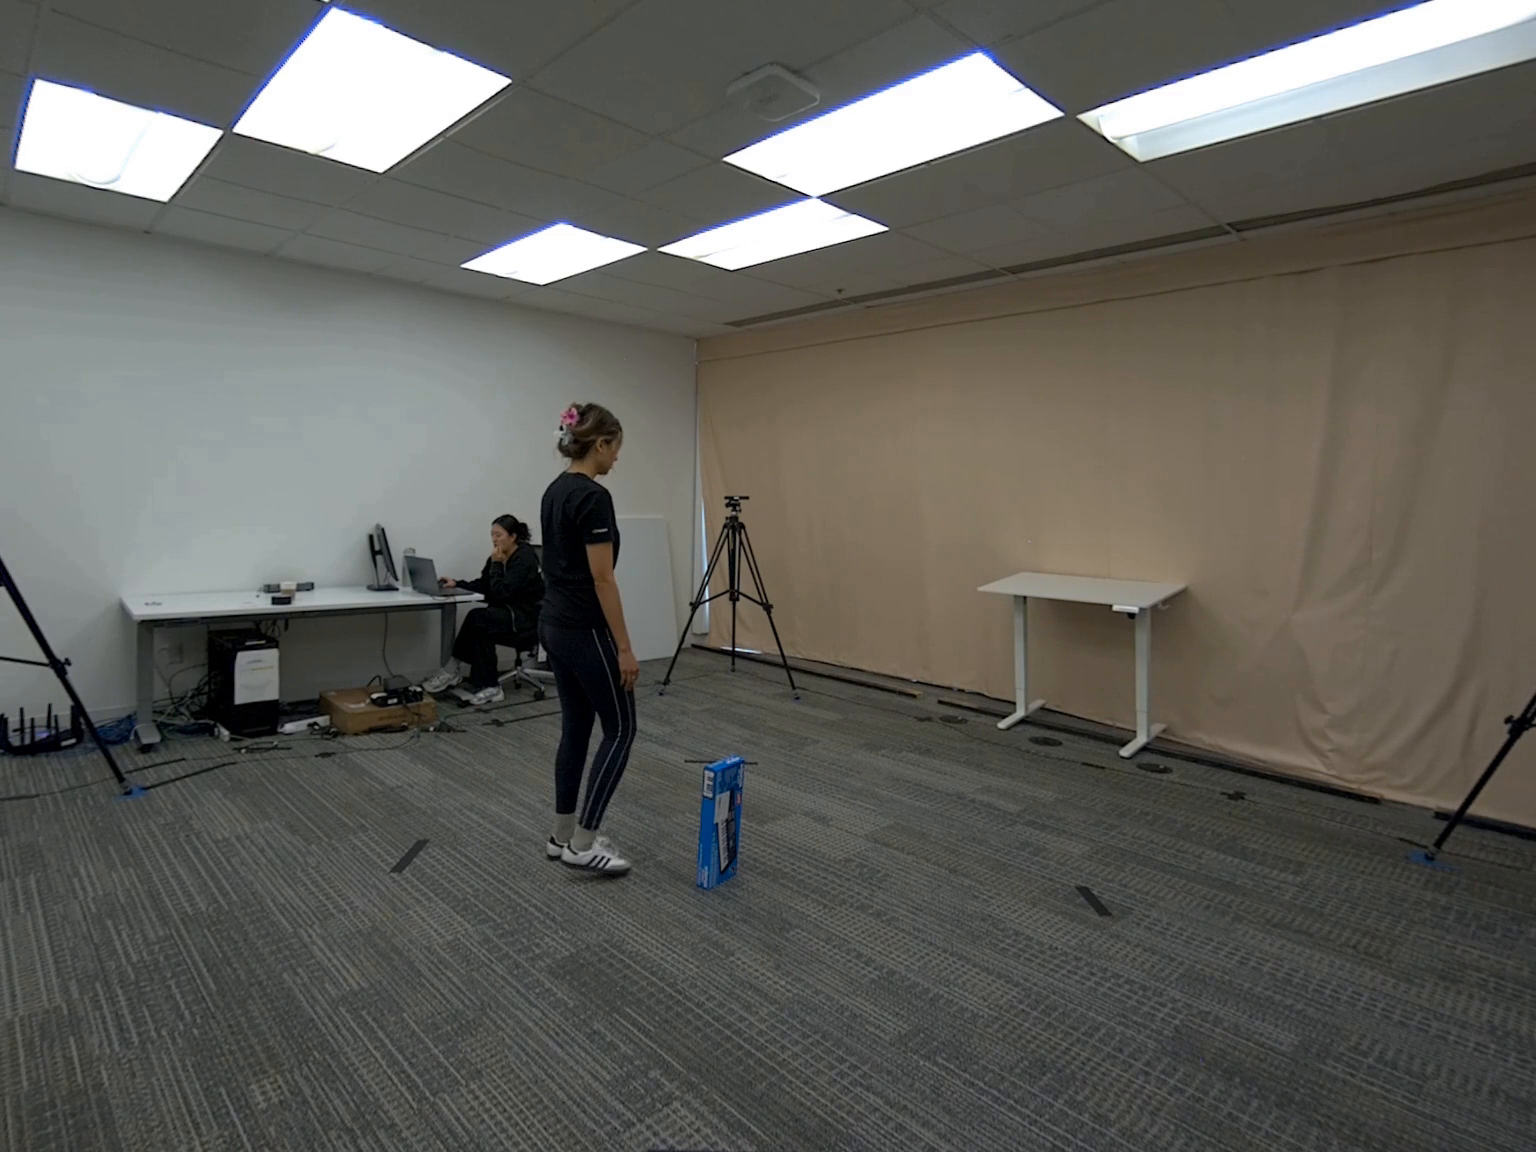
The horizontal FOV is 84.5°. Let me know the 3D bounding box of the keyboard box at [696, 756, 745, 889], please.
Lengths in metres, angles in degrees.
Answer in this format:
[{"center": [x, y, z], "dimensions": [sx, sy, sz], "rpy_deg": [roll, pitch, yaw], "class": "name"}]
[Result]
[{"center": [-0.177, 0.890, 3.042], "dimensions": [0.060, 0.435, 0.172], "rpy_deg": [7, 6, 34], "class": "keyboard box"}]
